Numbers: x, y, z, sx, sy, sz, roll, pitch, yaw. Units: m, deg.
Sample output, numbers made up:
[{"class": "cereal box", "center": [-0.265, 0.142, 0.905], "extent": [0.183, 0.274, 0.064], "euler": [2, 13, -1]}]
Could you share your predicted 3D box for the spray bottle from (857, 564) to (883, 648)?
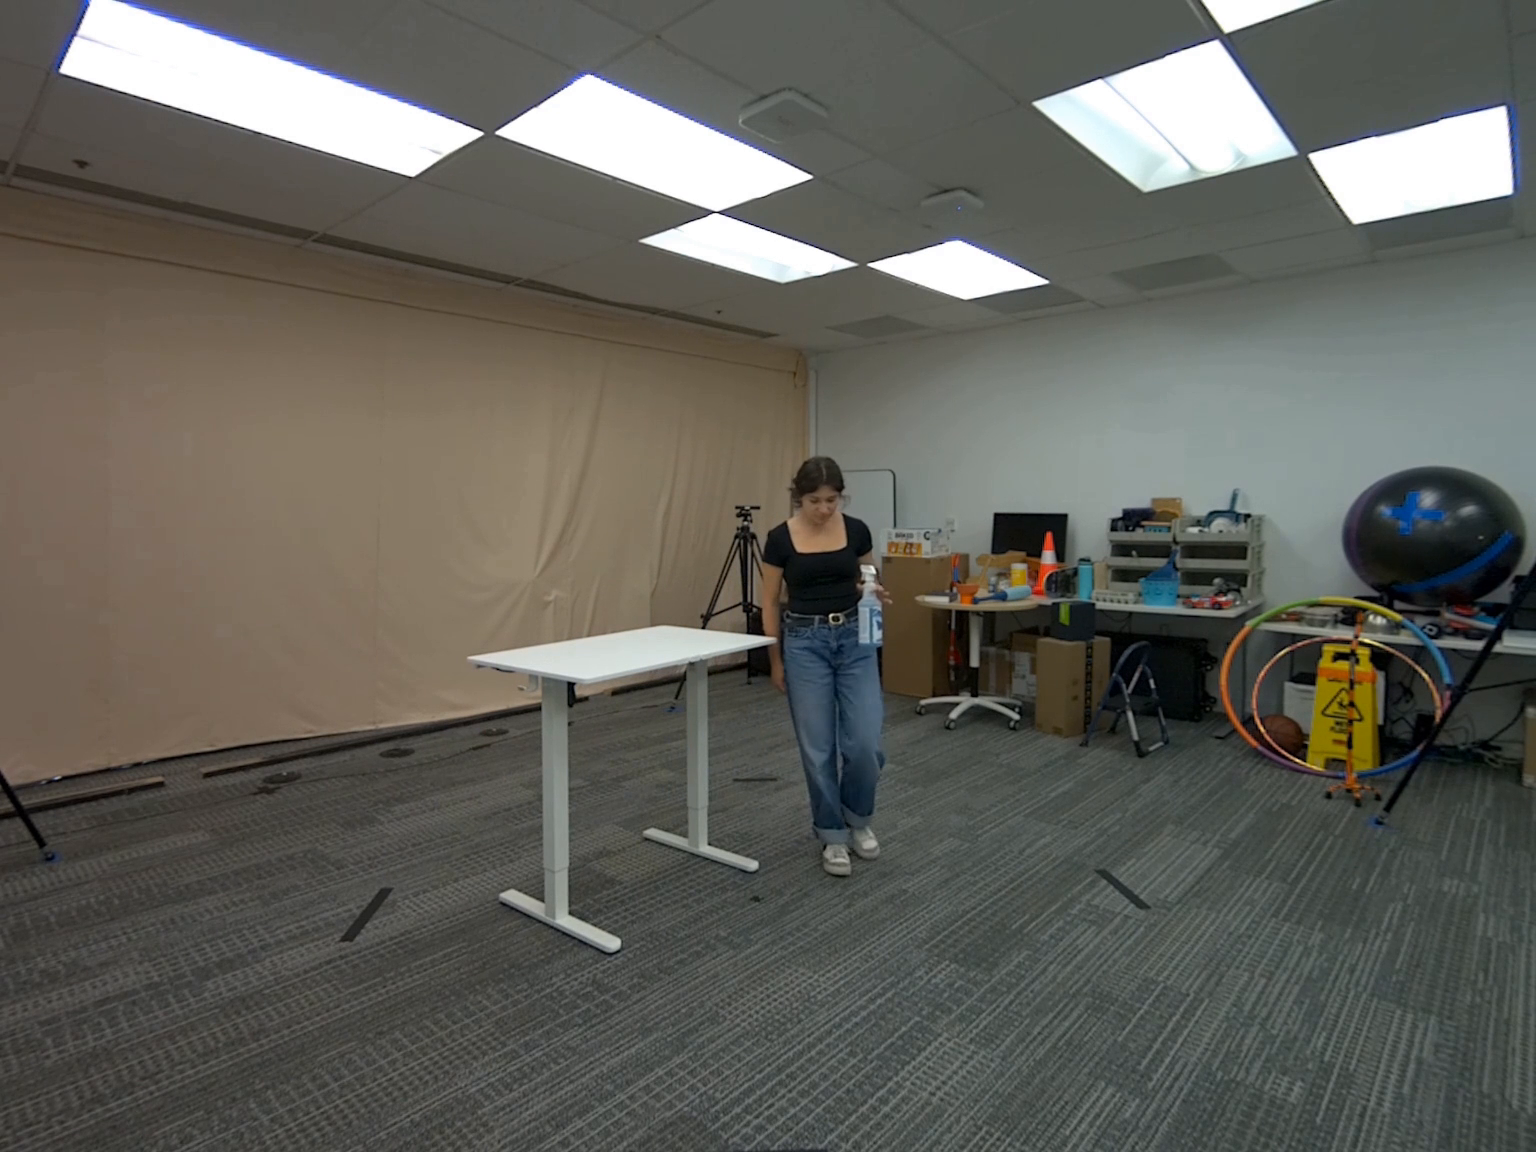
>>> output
[{"class": "spray bottle", "center": [0.375, 0.110, 3.085], "extent": [0.087, 0.298, 0.089], "euler": [-2, -2, 4]}]
